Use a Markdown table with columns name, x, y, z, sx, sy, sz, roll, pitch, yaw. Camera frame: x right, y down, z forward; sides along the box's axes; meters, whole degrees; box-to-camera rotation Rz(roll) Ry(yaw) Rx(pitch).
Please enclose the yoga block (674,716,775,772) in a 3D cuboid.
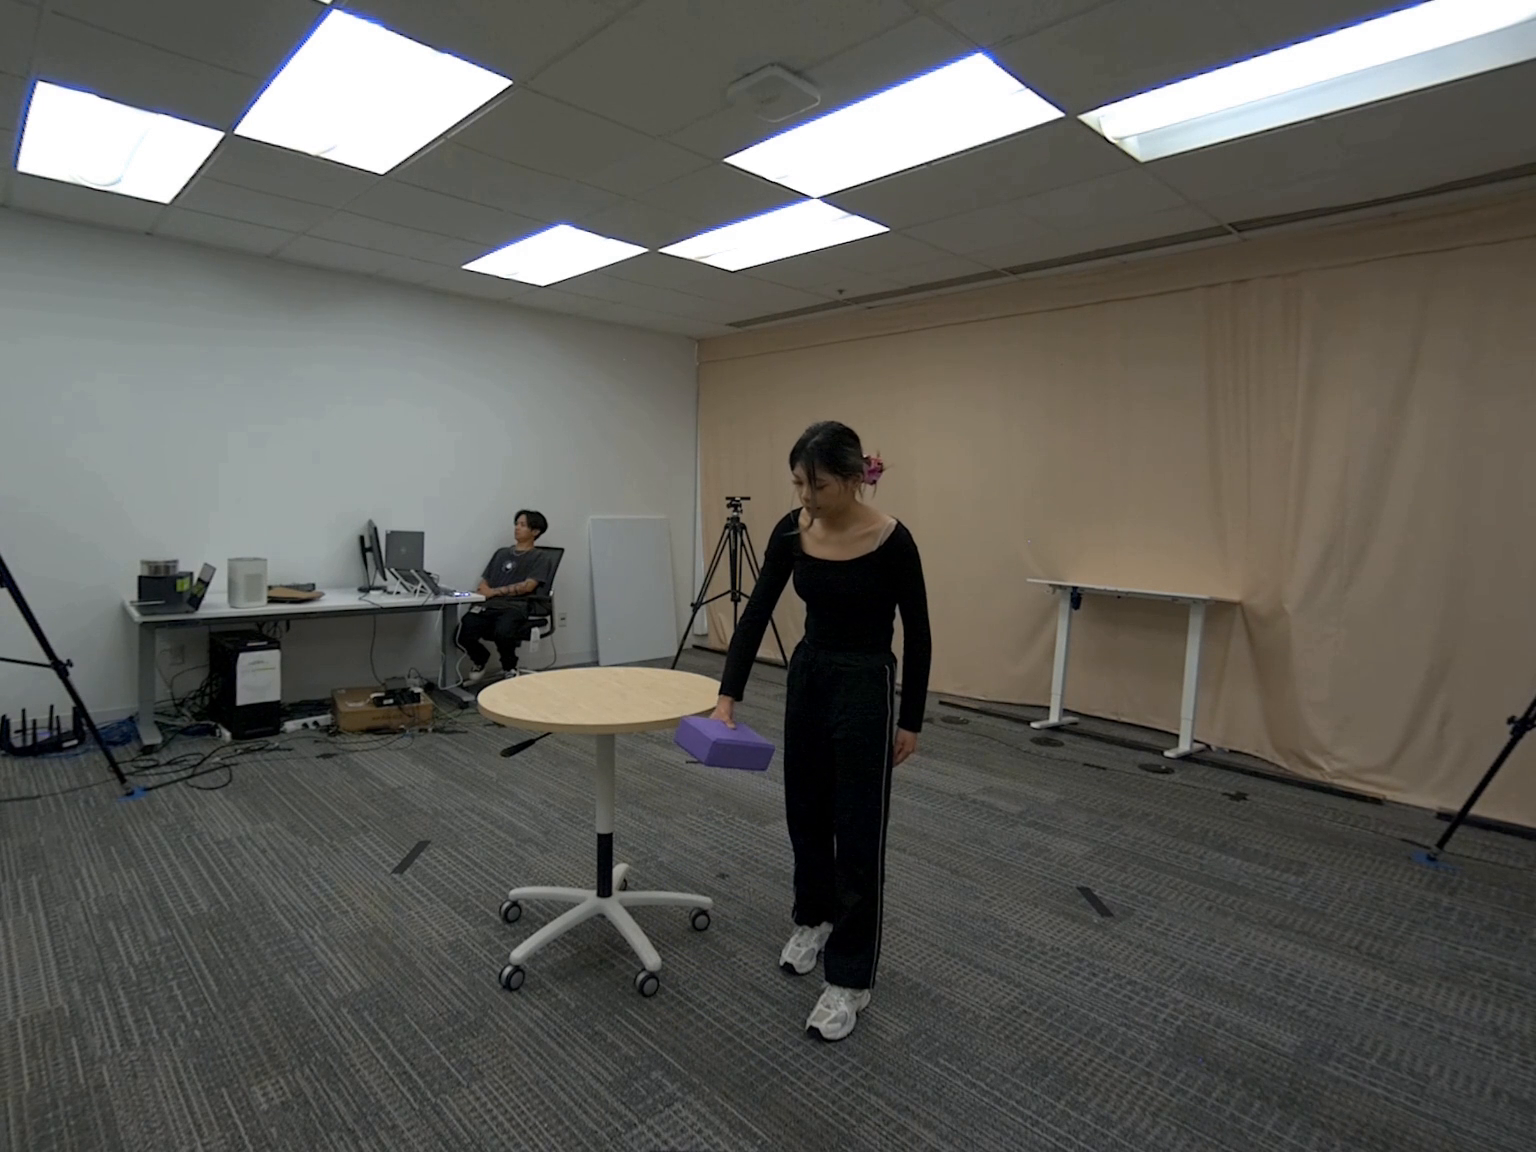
| name | x | y | z | sx | sy | sz | roll | pitch | yaw |
| --- | --- | --- | --- | --- | --- | --- | --- | --- | --- |
| yoga block | -0.097 | 0.422 | 2.148 | 0.223 | 0.076 | 0.153 | 11 | 6 | -46 |
